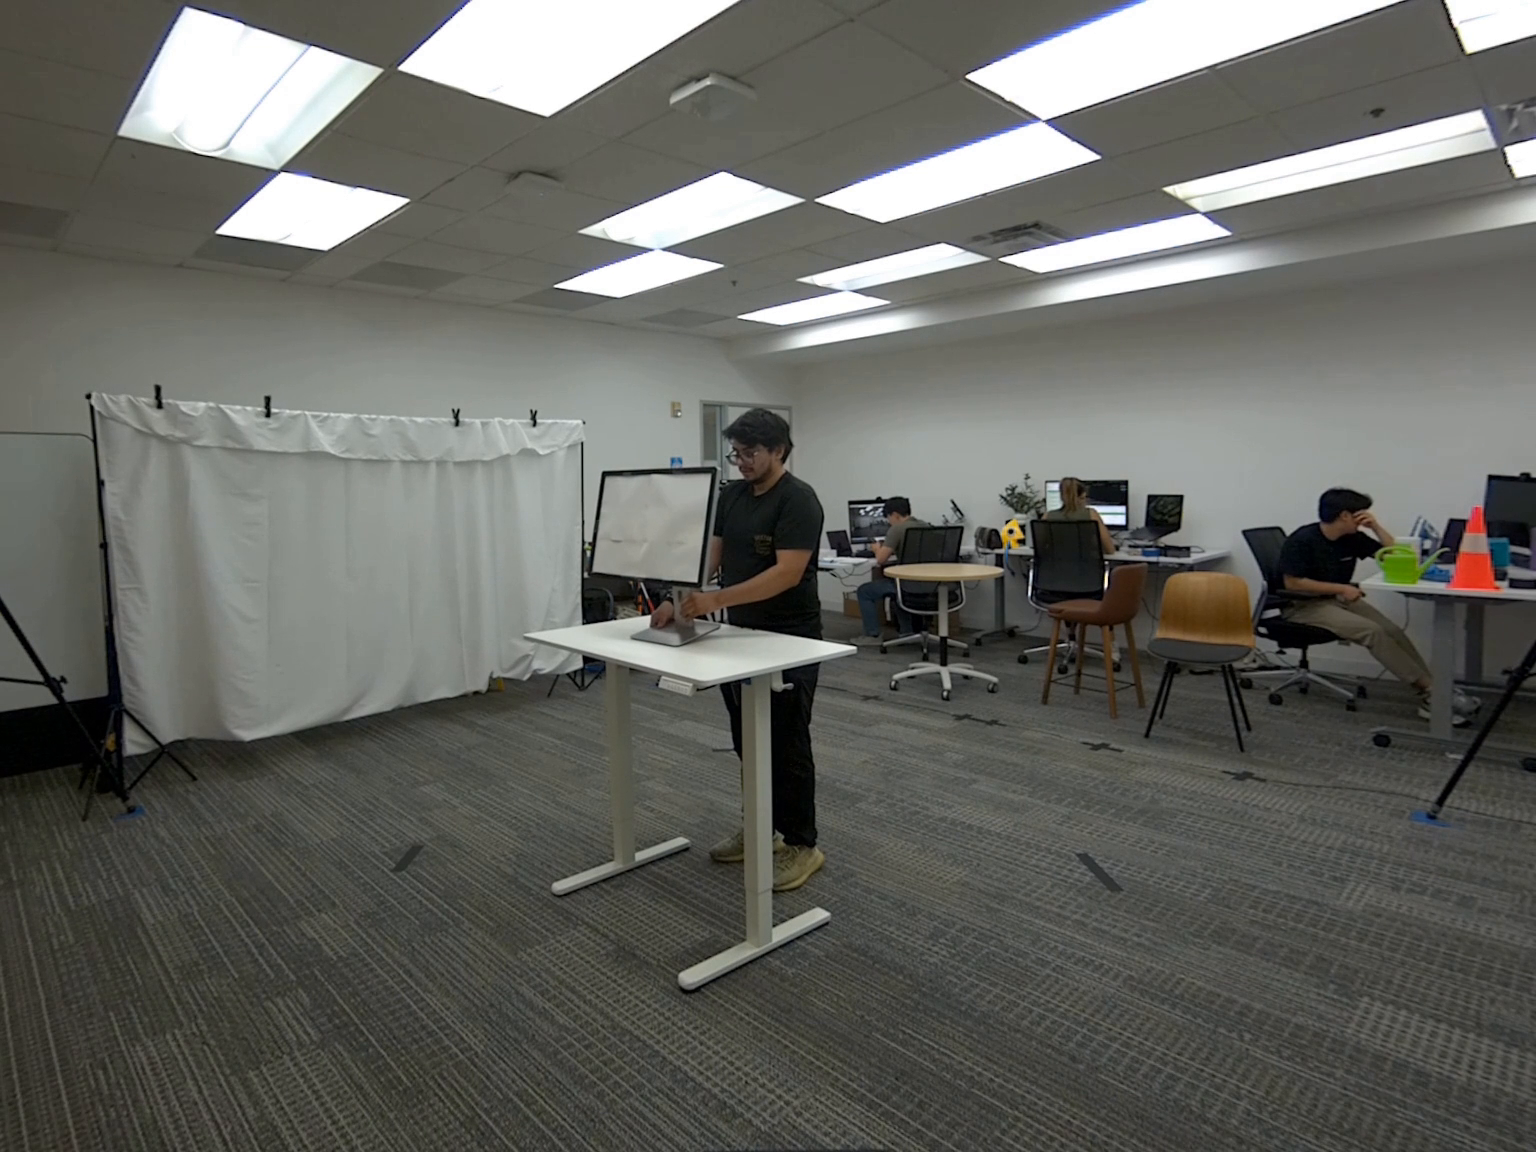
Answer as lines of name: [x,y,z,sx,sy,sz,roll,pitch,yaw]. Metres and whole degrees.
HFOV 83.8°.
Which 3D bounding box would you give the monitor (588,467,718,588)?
monitor: [-0.324,-0.072,2.769,0.583,0.553,0.204,3,3,43]
